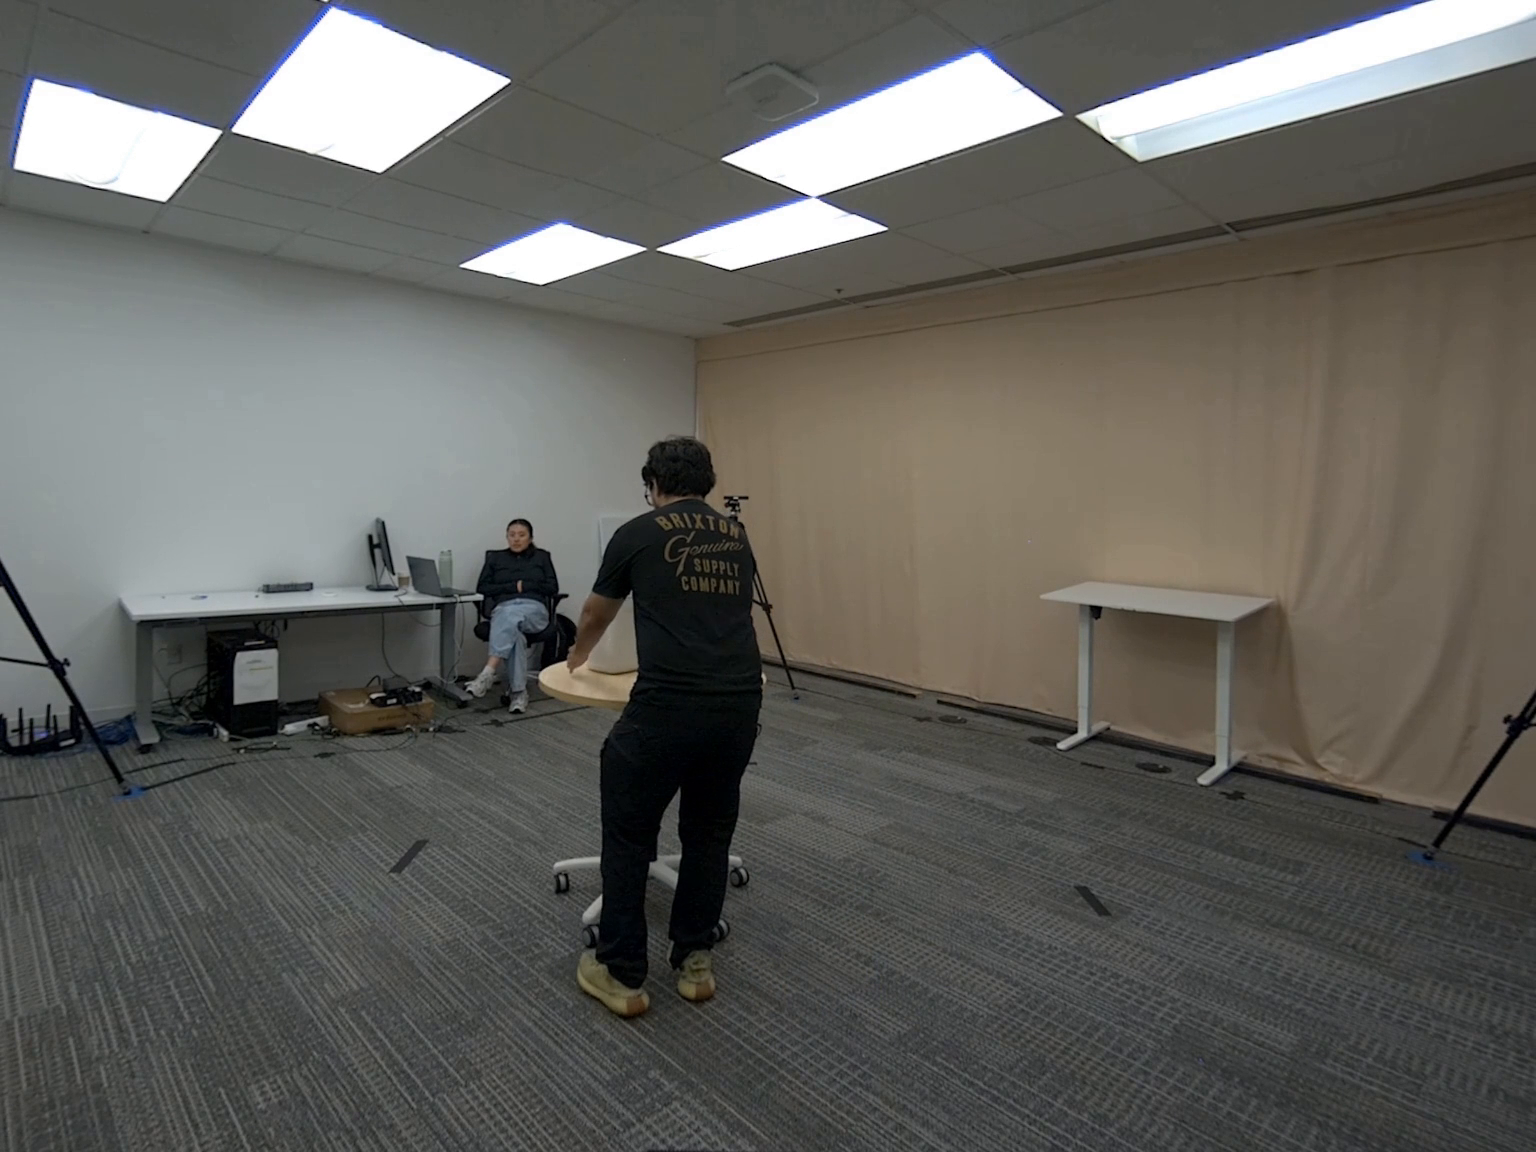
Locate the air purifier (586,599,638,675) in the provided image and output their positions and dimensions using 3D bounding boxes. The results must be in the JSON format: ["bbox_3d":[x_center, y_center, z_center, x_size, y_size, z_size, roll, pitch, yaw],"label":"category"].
[{"bbox_3d":[-0.544,0.192,2.914,0.175,0.265,0.168,5,4,27],"label":"air purifier"}]
